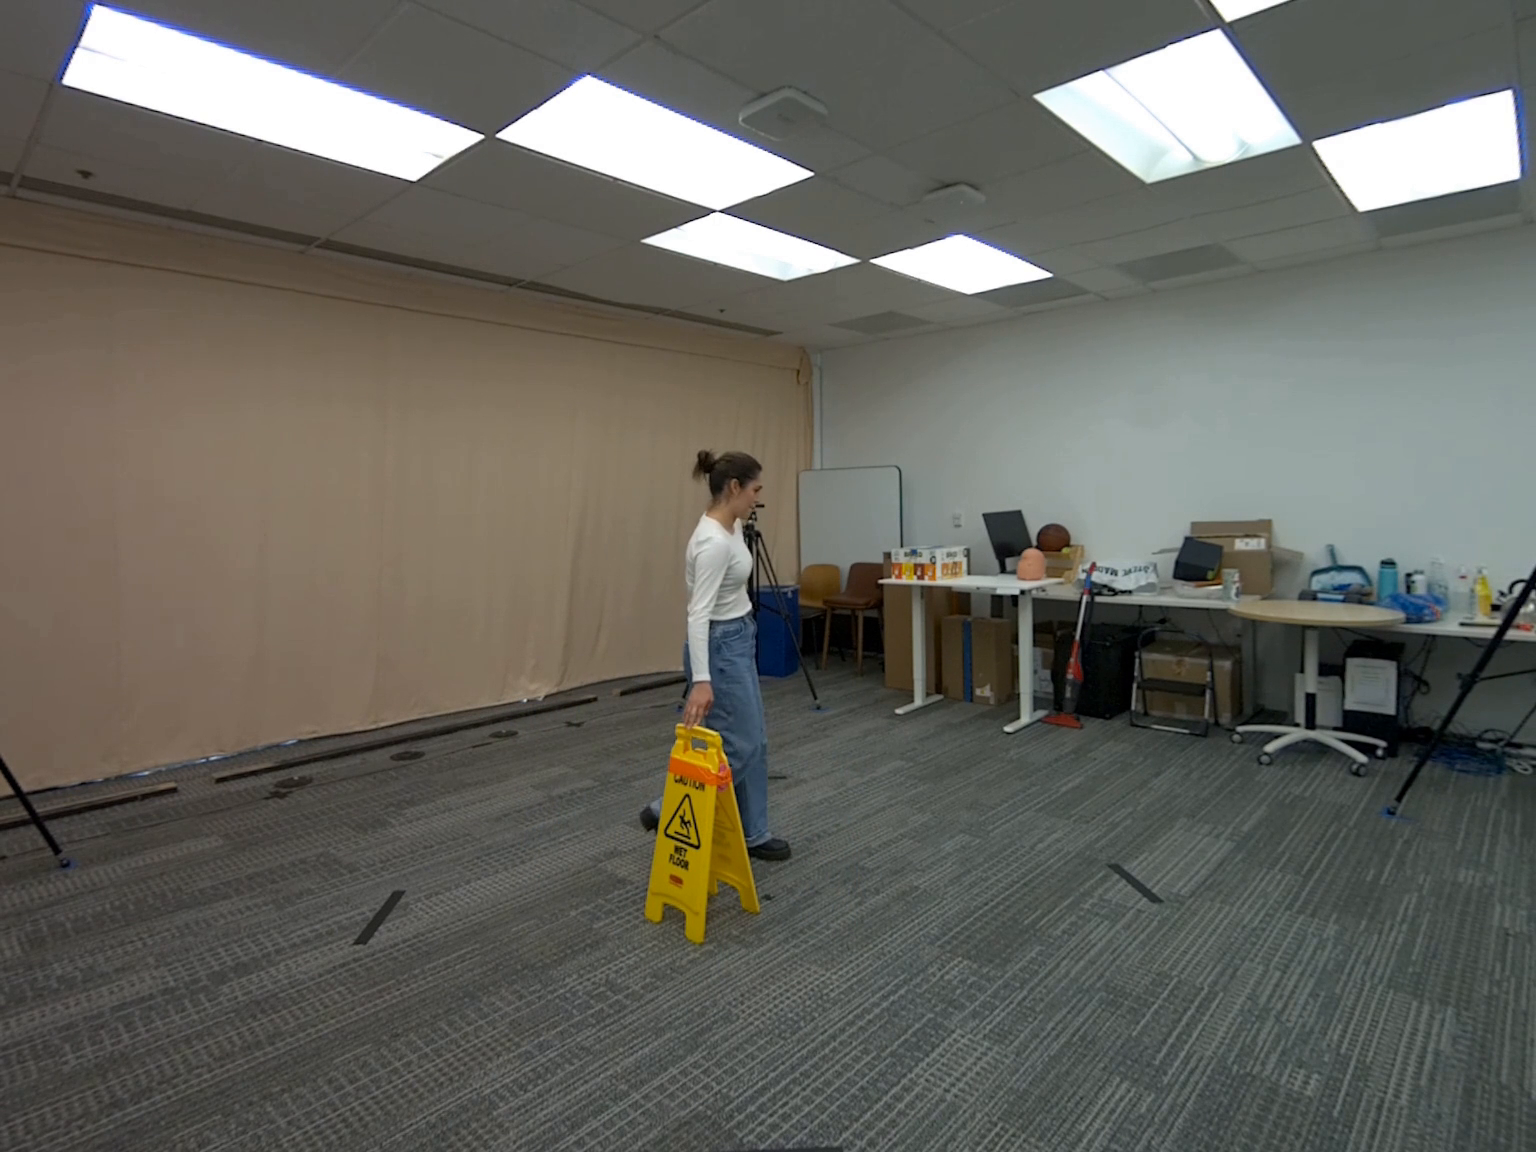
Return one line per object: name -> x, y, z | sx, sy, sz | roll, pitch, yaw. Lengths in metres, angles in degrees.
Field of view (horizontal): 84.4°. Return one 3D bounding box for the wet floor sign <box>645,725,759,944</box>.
wet floor sign -> -0.229, 0.828, 2.846 | 0.291, 0.644, 0.281 | 1, 5, 43
